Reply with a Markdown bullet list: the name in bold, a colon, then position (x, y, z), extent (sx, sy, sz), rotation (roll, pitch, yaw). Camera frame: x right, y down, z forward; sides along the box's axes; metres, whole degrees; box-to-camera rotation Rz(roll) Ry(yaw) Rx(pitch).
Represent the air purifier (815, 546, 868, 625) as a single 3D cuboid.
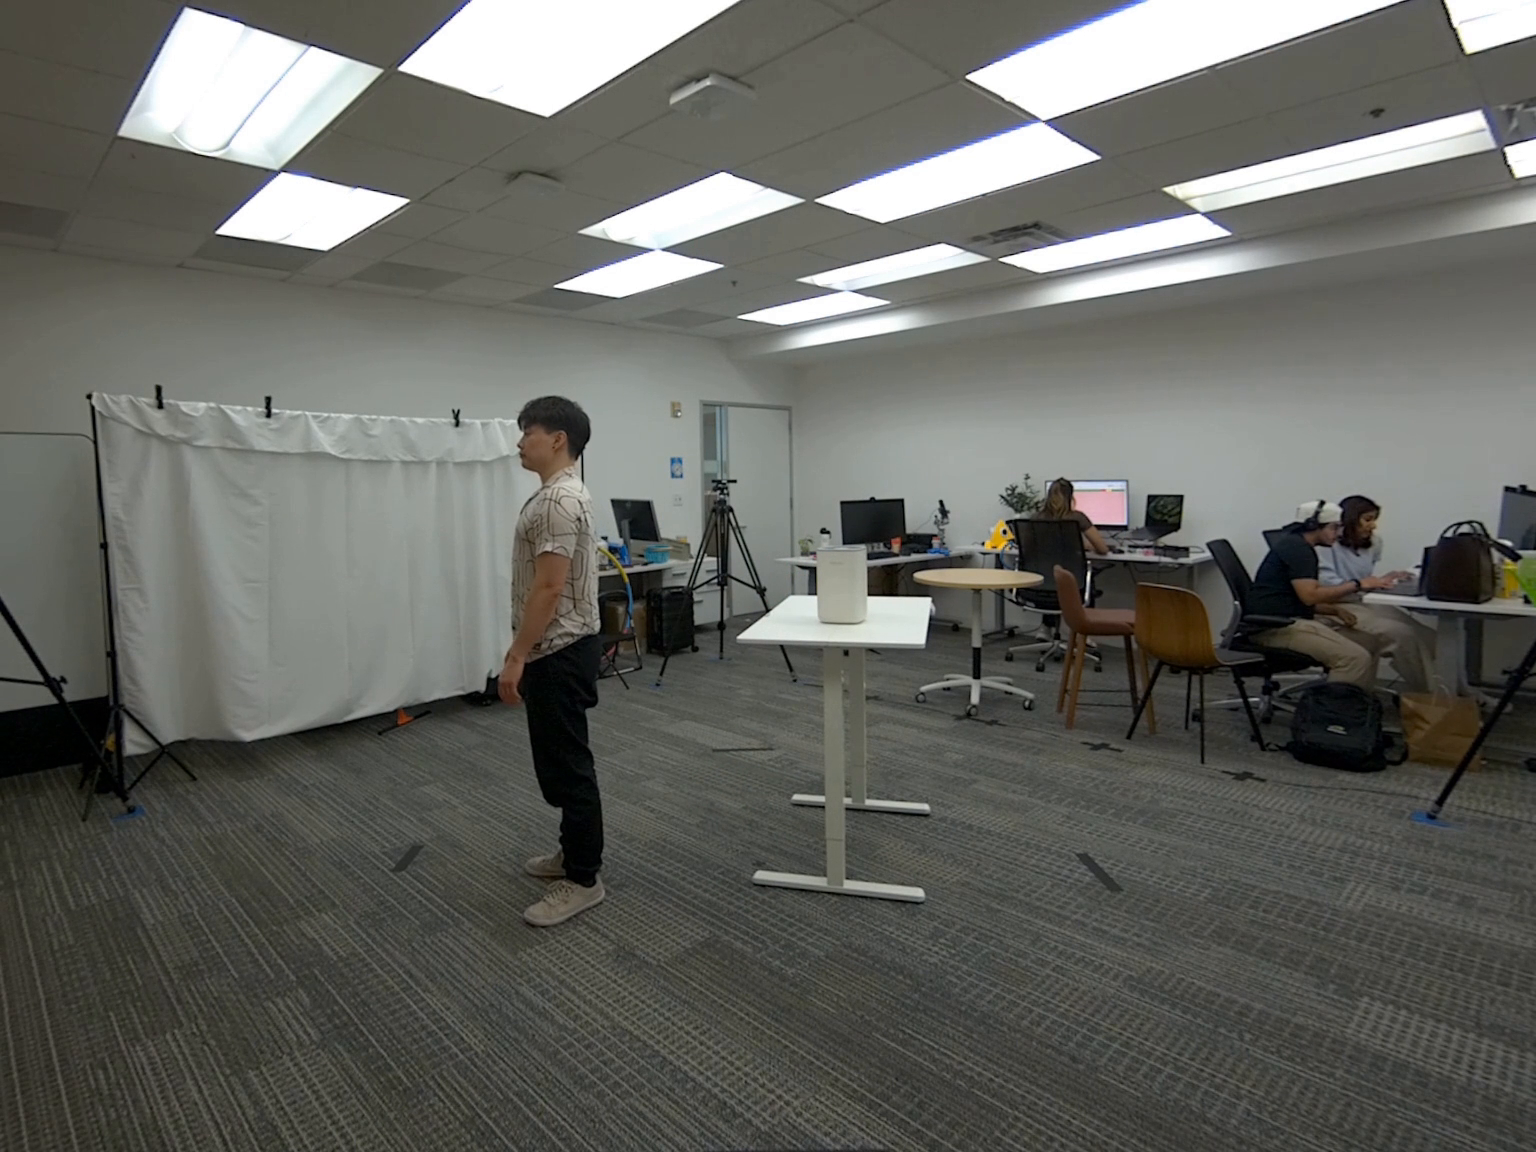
- **air purifier**: position (0.277, 0.030, 3.088), extent (0.173, 0.264, 0.171), rotation (0, 5, 9)
